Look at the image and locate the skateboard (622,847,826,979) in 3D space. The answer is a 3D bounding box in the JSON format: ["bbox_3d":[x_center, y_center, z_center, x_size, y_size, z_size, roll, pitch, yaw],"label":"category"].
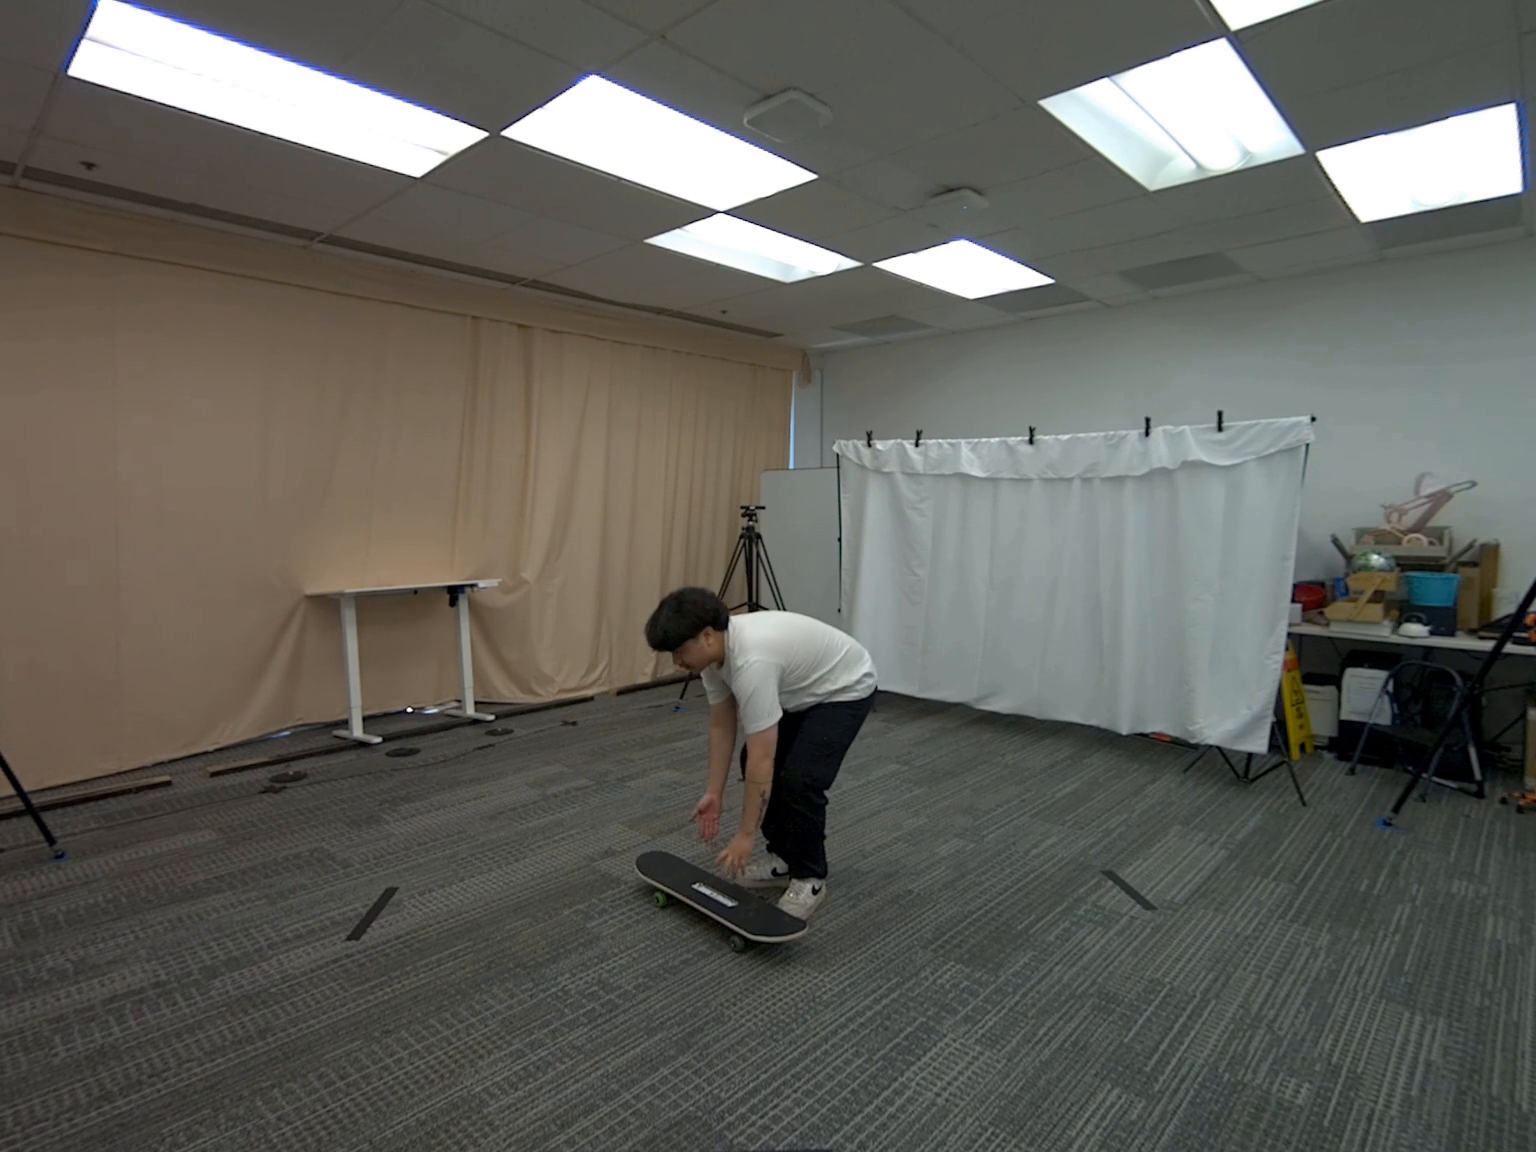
[{"bbox_3d":[-0.176,1.096,2.826,0.187,0.110,0.811,-5,6,-44],"label":"skateboard"}]
